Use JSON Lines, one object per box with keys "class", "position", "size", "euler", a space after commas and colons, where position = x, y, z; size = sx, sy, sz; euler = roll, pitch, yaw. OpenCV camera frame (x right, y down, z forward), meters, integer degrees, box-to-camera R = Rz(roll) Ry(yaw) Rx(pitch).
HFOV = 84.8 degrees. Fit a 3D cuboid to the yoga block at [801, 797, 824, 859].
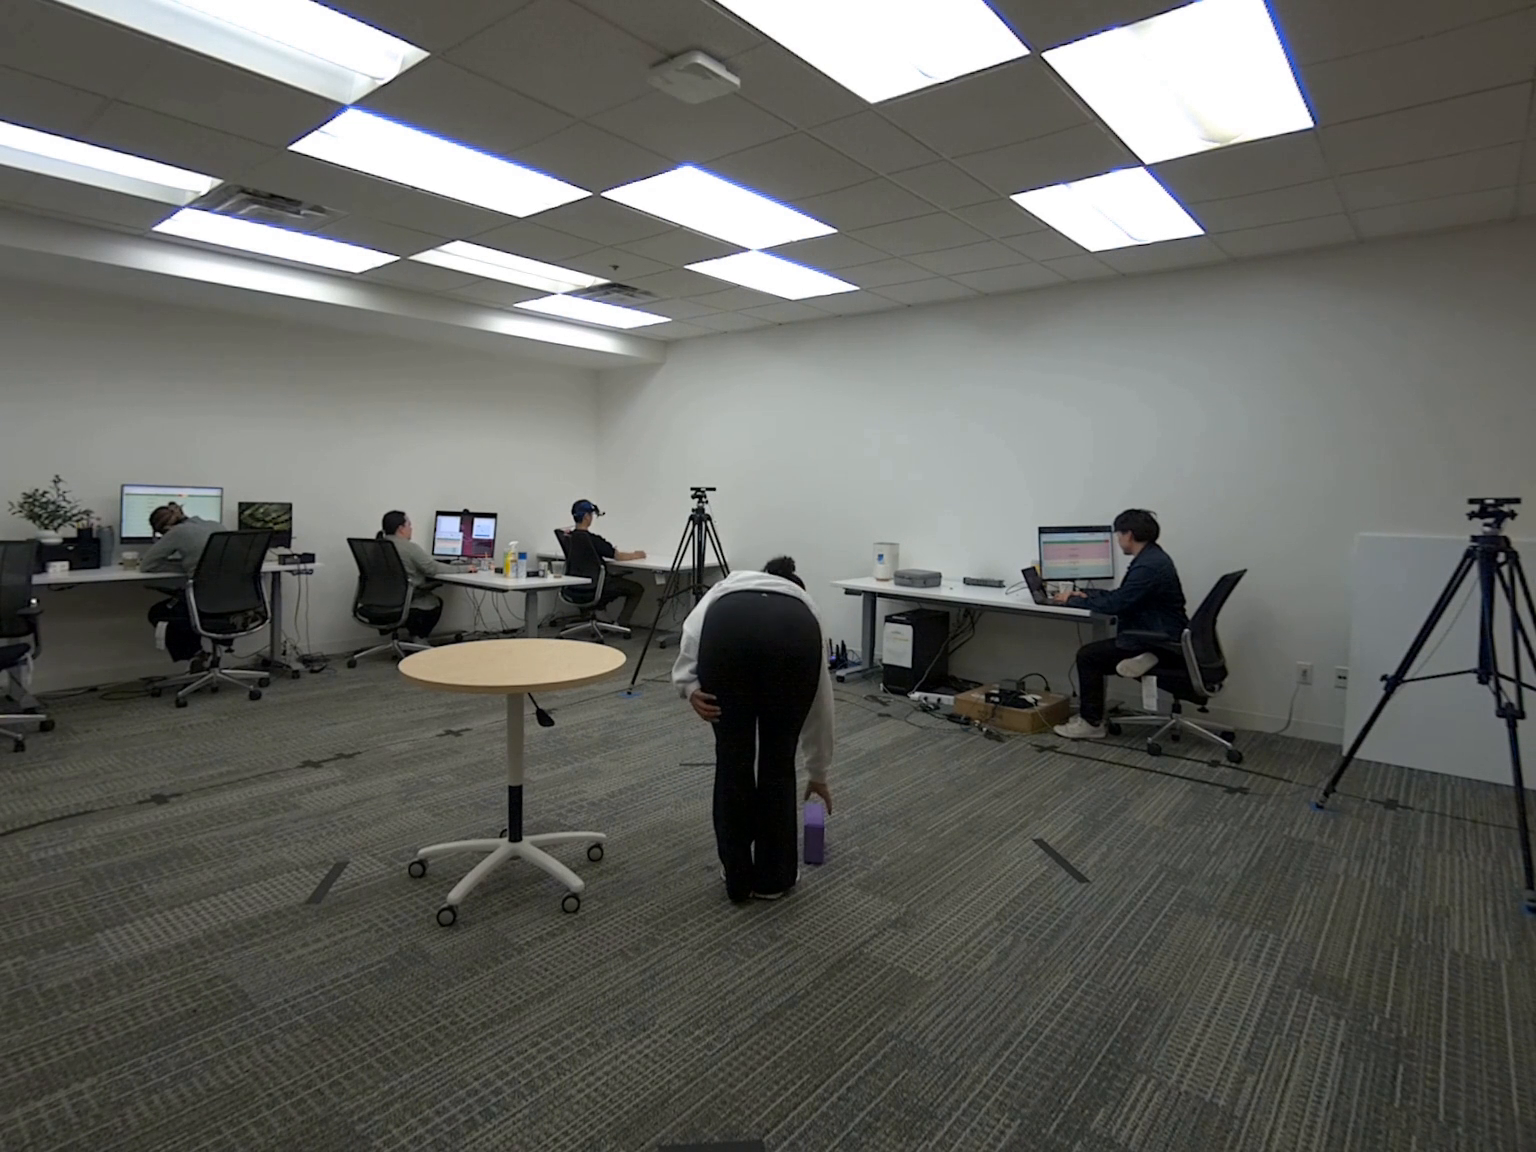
{"class": "yoga block", "position": [0.170, 0.973, 3.266], "size": [0.076, 0.149, 0.229], "euler": [0, 3, 1]}
